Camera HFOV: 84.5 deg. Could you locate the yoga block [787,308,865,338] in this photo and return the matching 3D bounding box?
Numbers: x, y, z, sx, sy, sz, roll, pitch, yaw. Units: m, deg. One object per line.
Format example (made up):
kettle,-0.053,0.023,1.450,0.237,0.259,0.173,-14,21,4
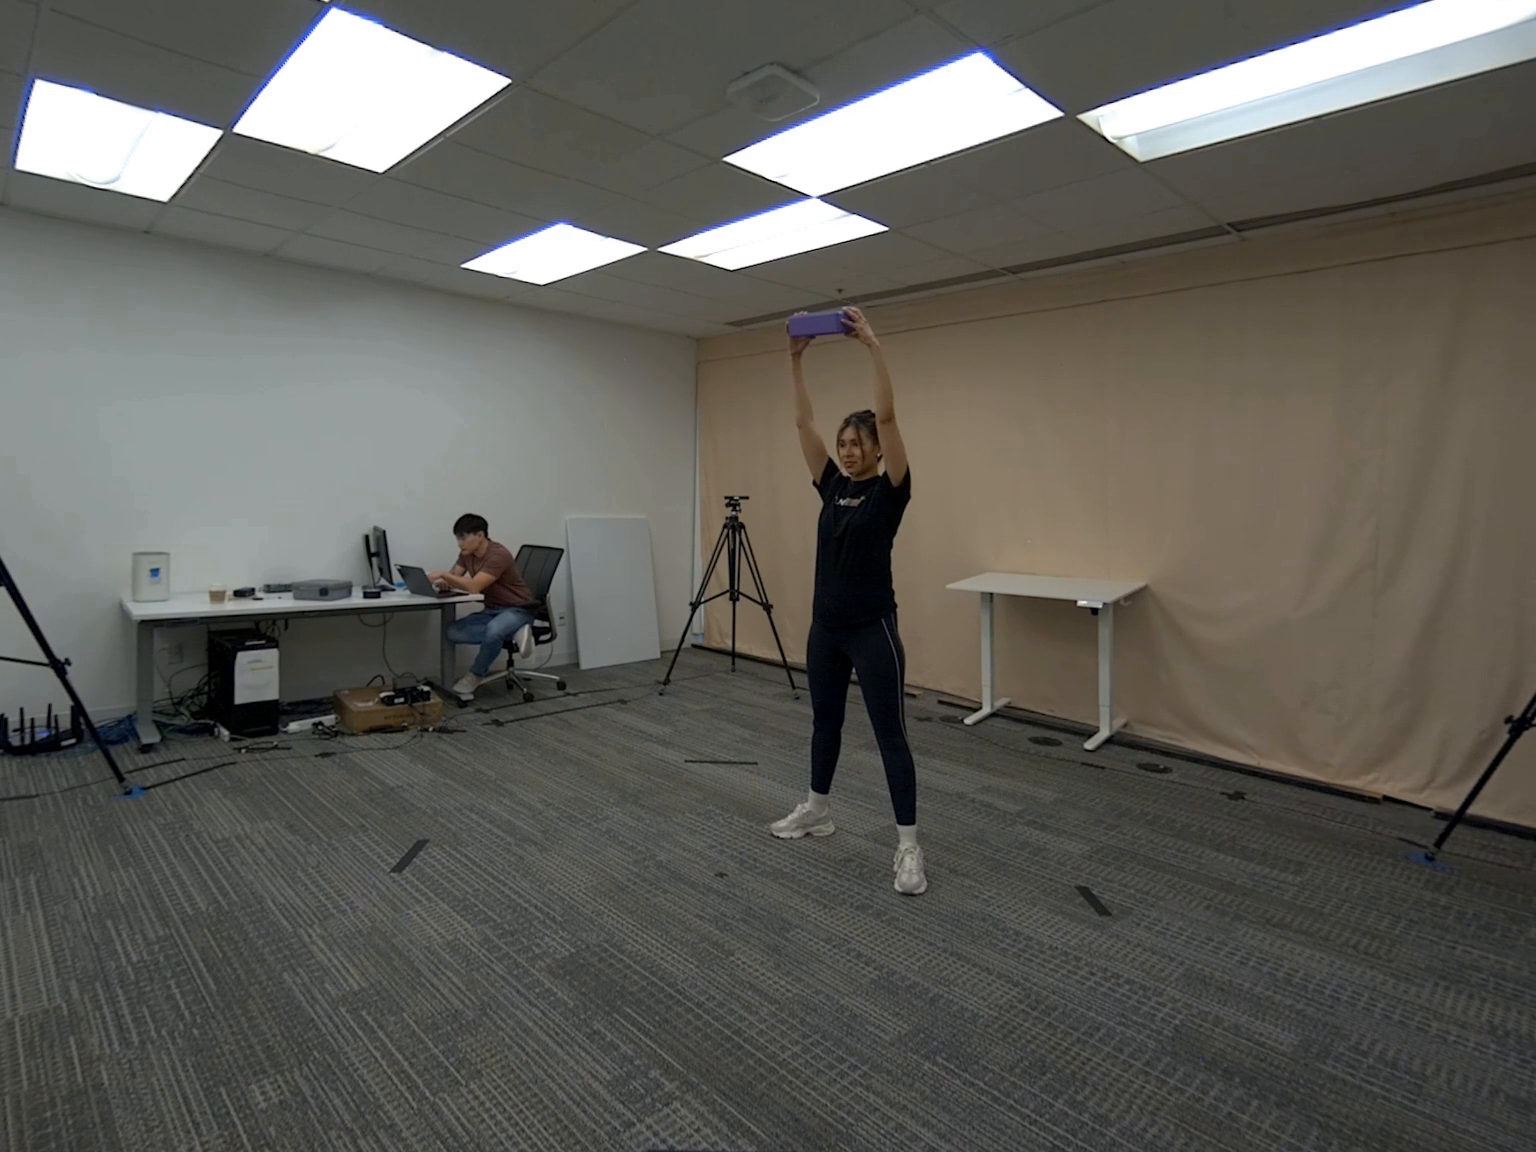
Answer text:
yoga block,0.207,-0.903,3.015,0.147,0.075,0.236,-21,22,-41
